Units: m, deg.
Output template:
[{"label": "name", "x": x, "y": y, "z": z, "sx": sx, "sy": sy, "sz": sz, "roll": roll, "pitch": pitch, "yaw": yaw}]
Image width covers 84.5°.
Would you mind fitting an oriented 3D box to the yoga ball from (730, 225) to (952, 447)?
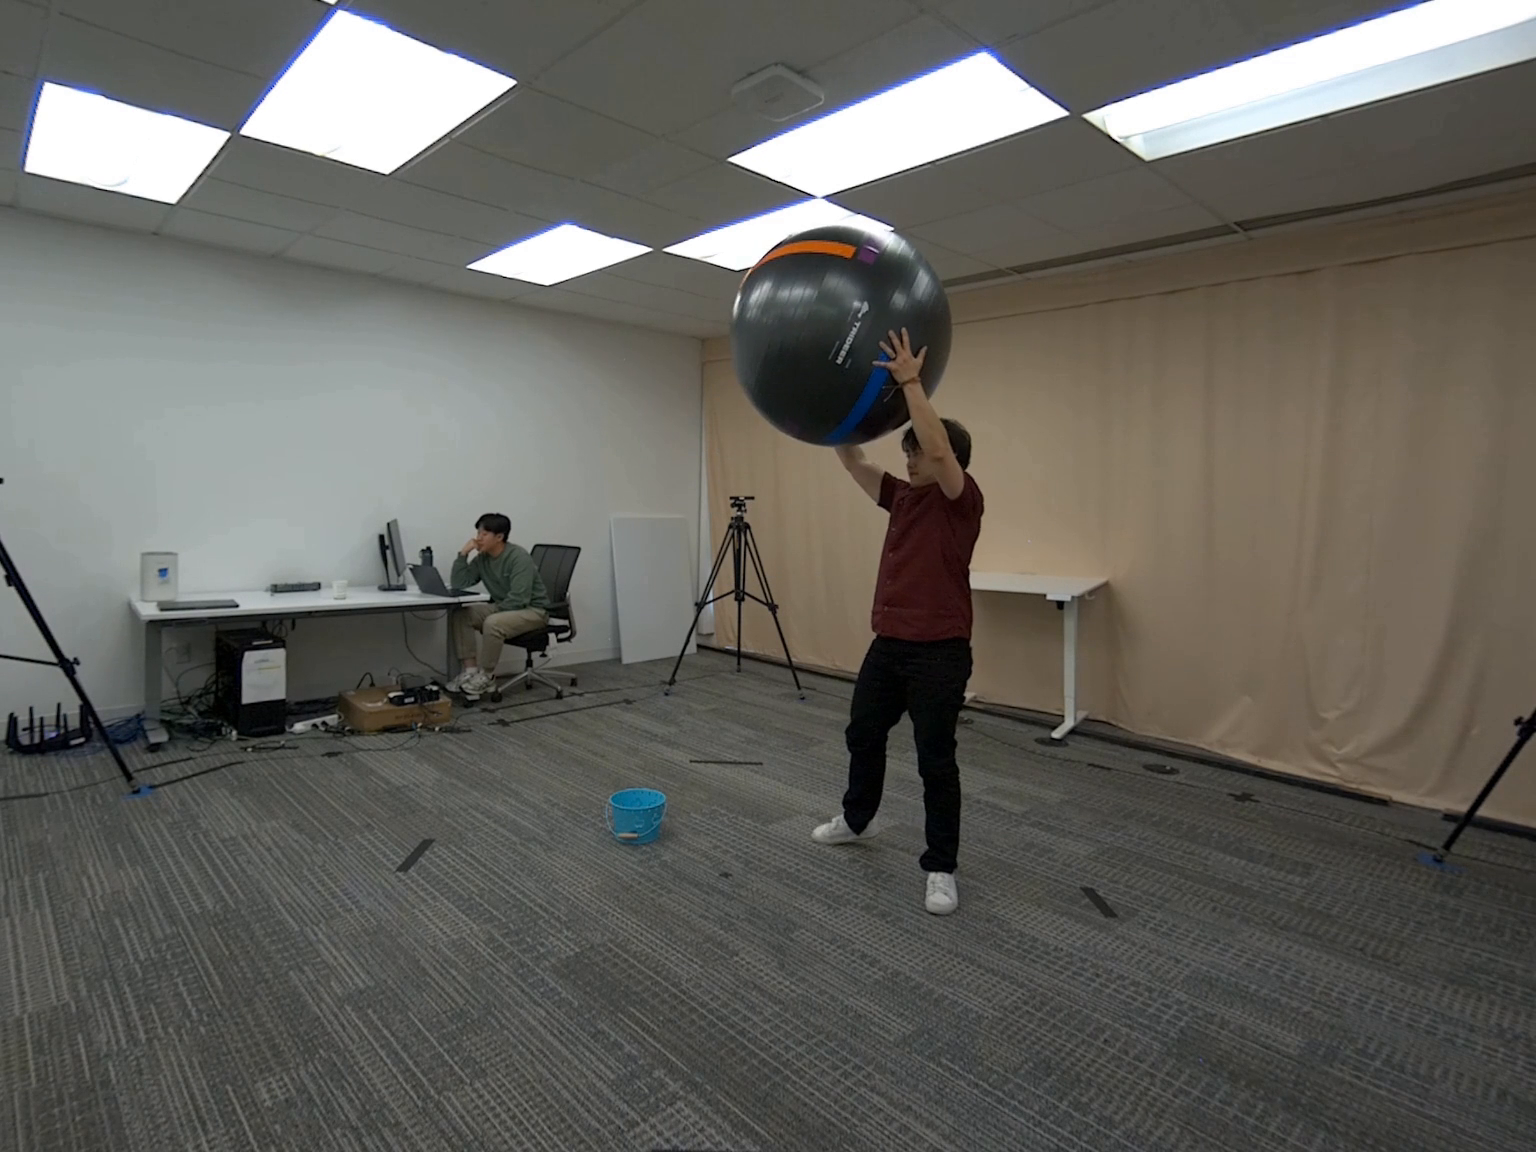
[{"label": "yoga ball", "x": 0.231, "y": -0.821, "z": 2.922, "sx": 0.757, "sy": 0.756, "sz": 0.761, "roll": 1, "pitch": 4, "yaw": -1}]
